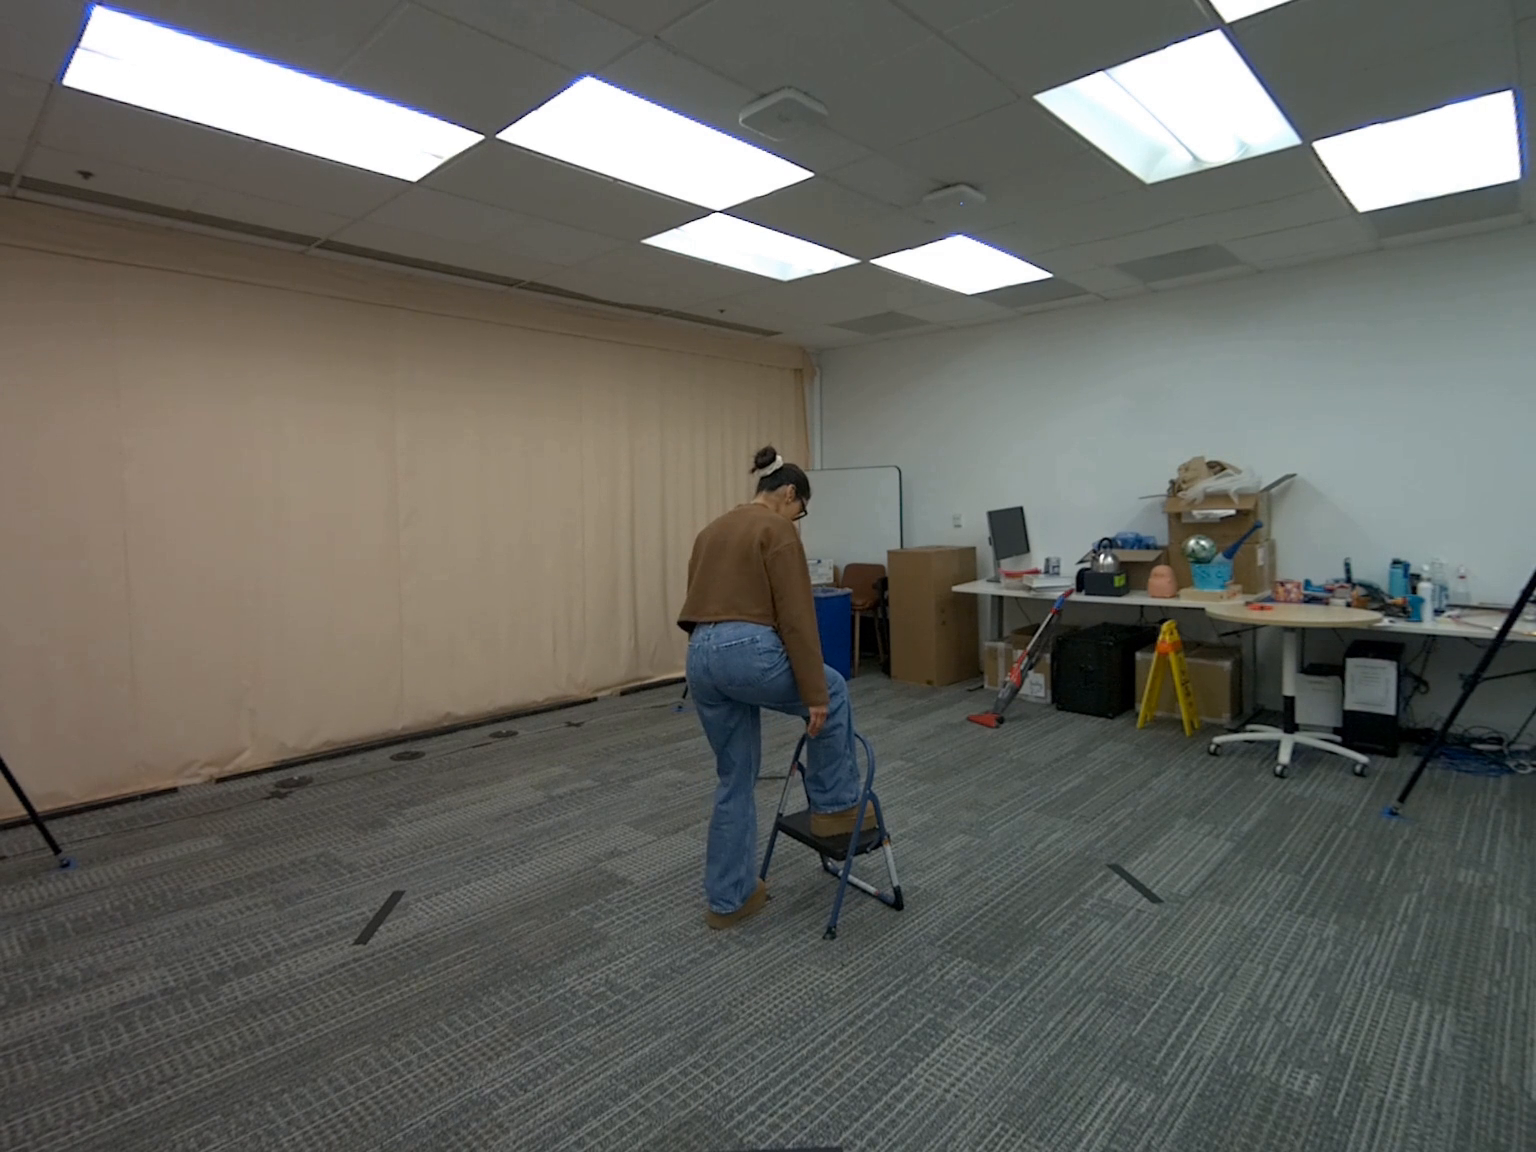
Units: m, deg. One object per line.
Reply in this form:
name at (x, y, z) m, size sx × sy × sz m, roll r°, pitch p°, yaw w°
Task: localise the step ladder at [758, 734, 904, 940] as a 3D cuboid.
step ladder at (0.207, 0.837, 2.937) m, size 0.339 × 0.605 × 0.444 m, roll -3°, pitch 4°, yaw -35°
